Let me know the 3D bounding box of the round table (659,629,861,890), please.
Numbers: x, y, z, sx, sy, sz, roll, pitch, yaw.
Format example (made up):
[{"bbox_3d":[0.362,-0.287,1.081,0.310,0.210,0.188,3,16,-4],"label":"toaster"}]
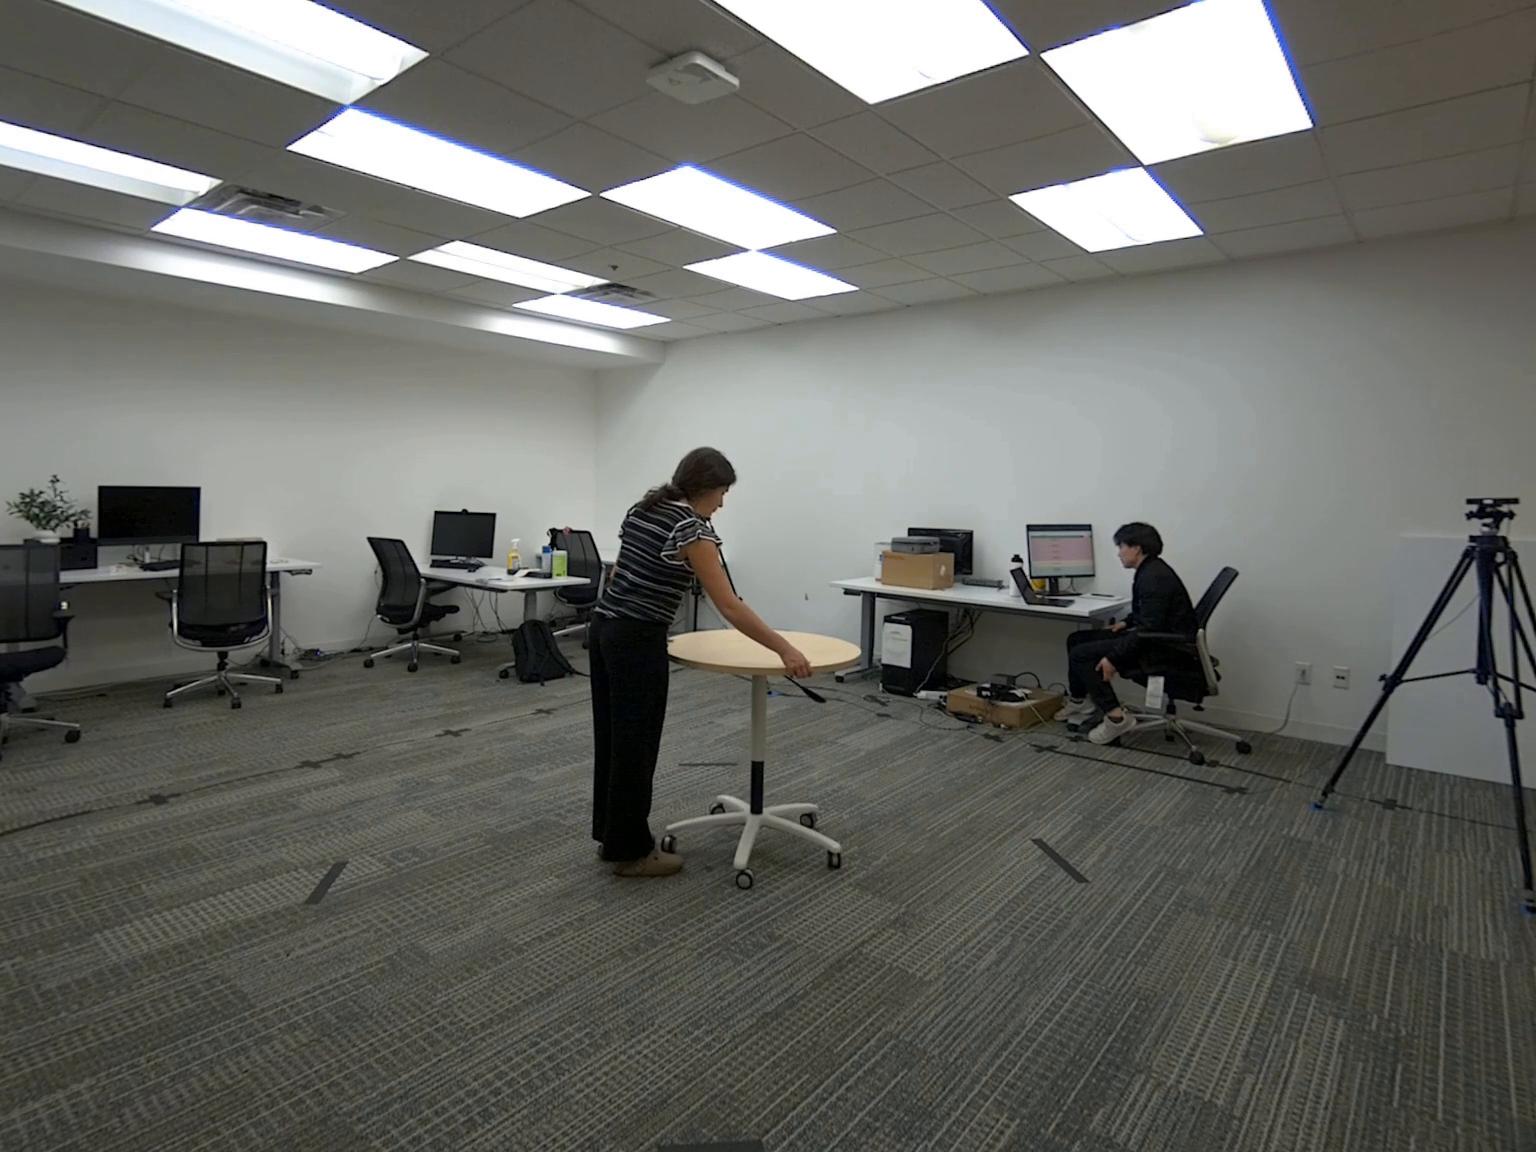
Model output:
[{"bbox_3d":[-0.058,0.659,3.276,0.784,0.784,0.789,2,4,-2],"label":"round table"}]
